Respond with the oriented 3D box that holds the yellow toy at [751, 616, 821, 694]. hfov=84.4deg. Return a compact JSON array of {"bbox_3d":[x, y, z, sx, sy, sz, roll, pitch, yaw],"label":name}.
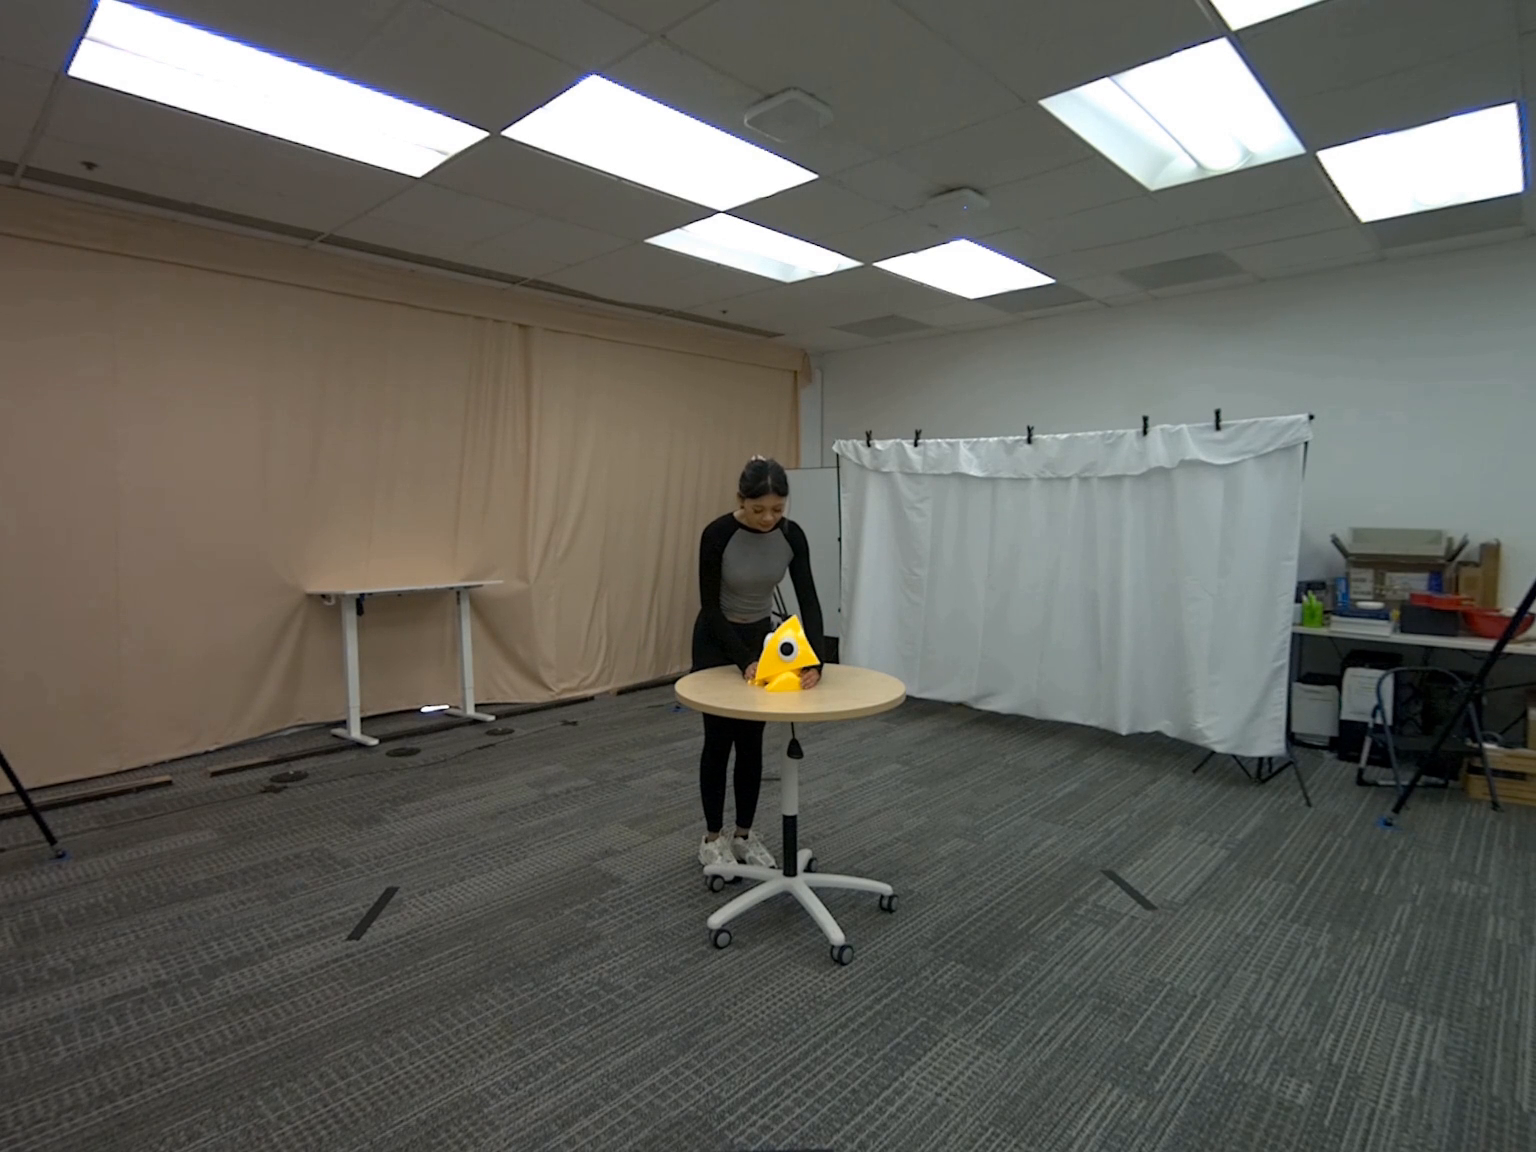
[{"bbox_3d":[0.047,0.250,2.811,0.188,0.230,0.211,-2,5,-29],"label":"yellow toy"}]
